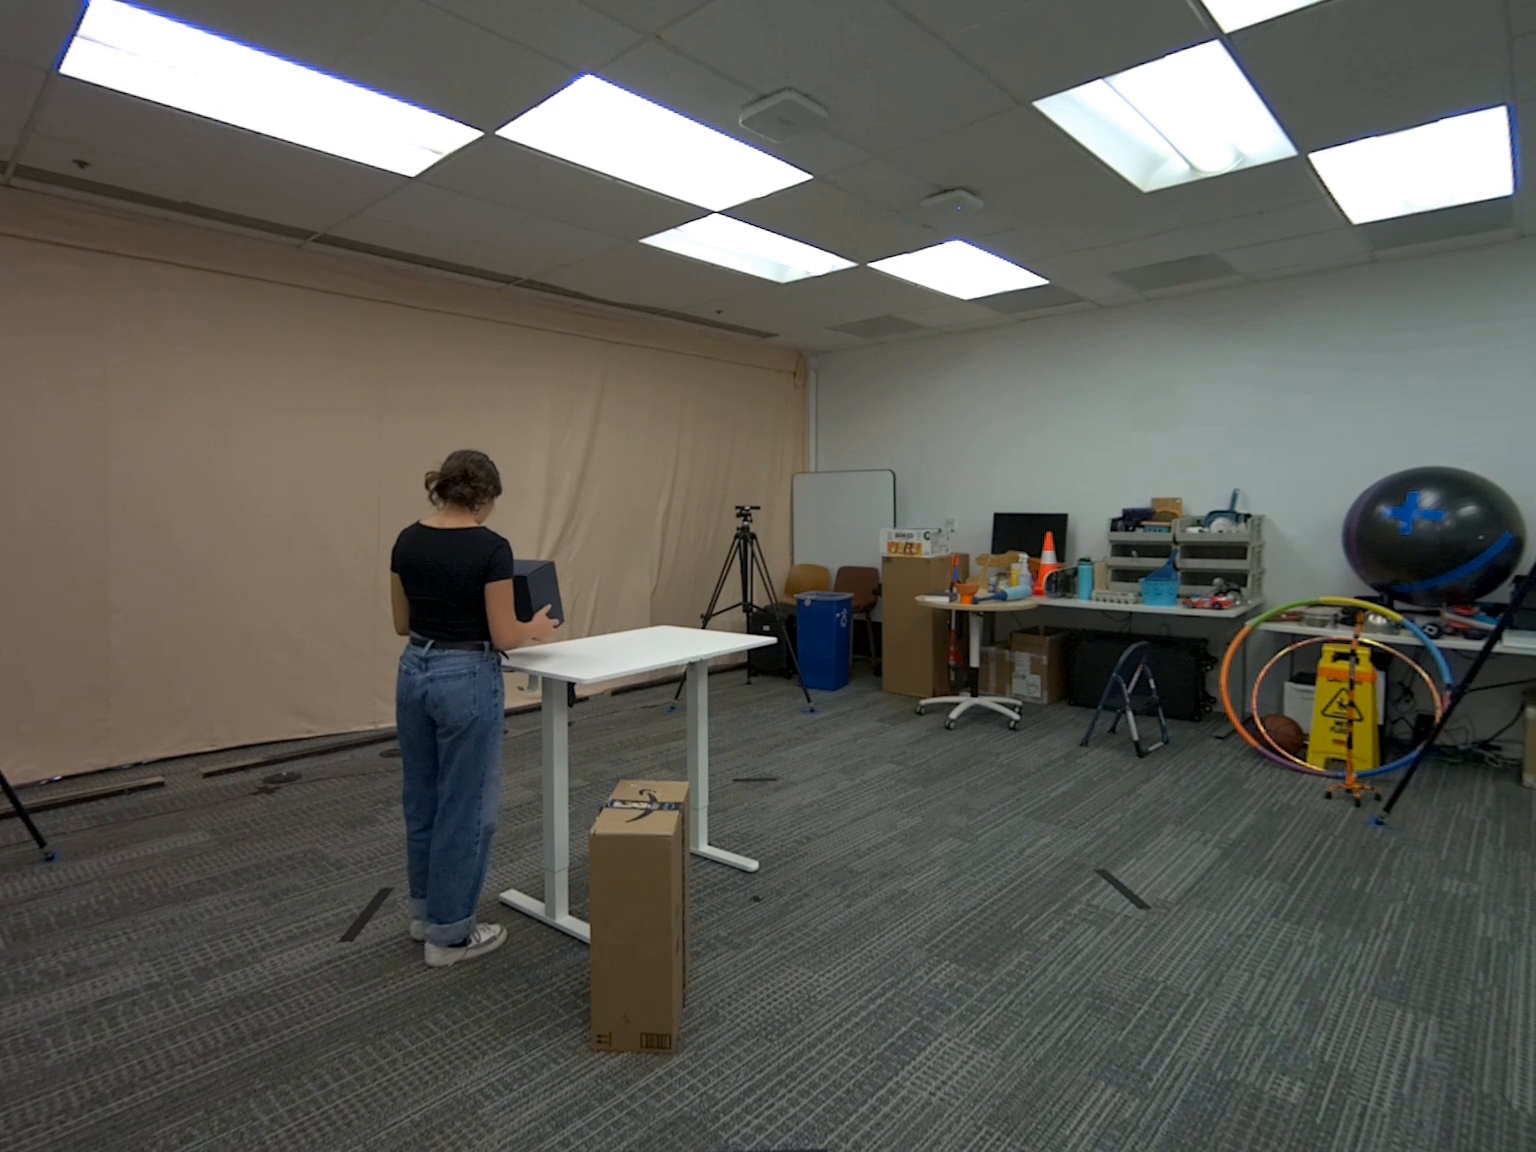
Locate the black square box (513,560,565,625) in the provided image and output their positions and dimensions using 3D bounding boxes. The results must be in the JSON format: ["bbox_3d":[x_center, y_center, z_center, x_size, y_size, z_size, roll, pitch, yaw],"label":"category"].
[{"bbox_3d":[-0.863,0.073,2.852,0.222,0.225,0.154,2,17,23],"label":"black square box"}]
